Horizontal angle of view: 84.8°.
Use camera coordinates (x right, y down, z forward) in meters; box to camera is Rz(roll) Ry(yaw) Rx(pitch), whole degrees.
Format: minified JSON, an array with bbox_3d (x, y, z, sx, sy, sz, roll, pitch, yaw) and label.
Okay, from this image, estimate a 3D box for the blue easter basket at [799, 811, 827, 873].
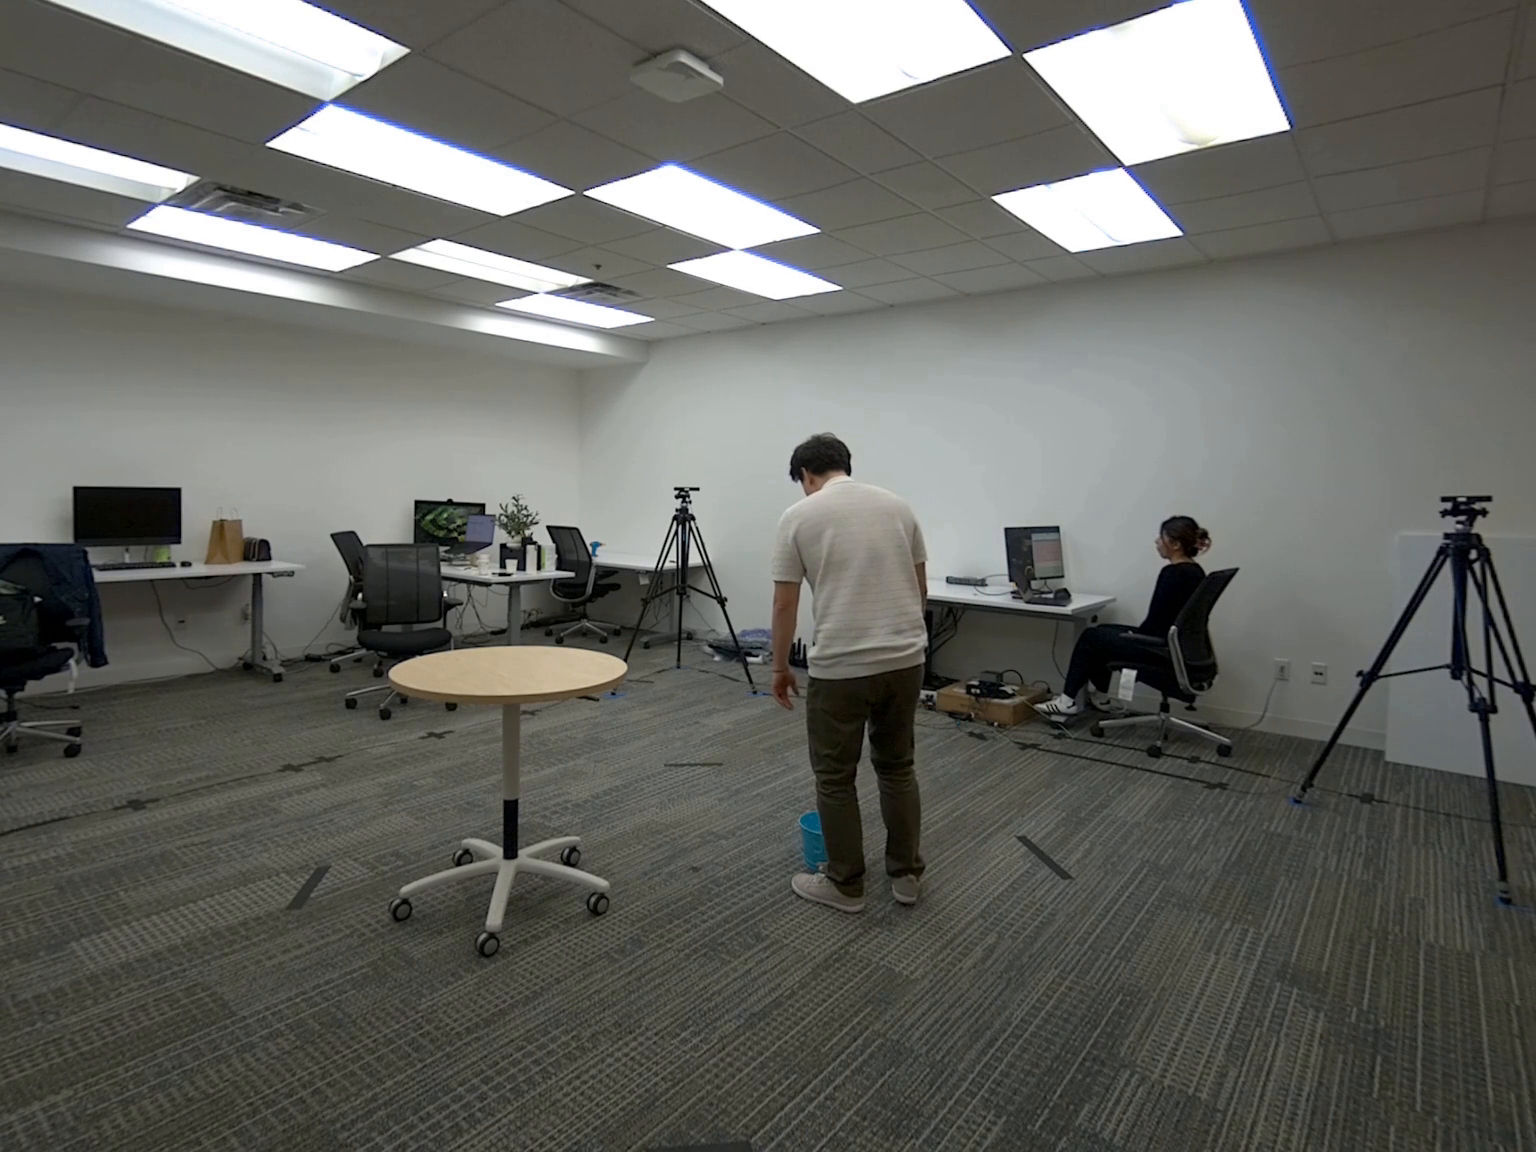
[{"bbox_3d":[0.216,0.991,3.184,0.243,0.155,0.245,1,4,-2],"label":"blue easter basket"}]
